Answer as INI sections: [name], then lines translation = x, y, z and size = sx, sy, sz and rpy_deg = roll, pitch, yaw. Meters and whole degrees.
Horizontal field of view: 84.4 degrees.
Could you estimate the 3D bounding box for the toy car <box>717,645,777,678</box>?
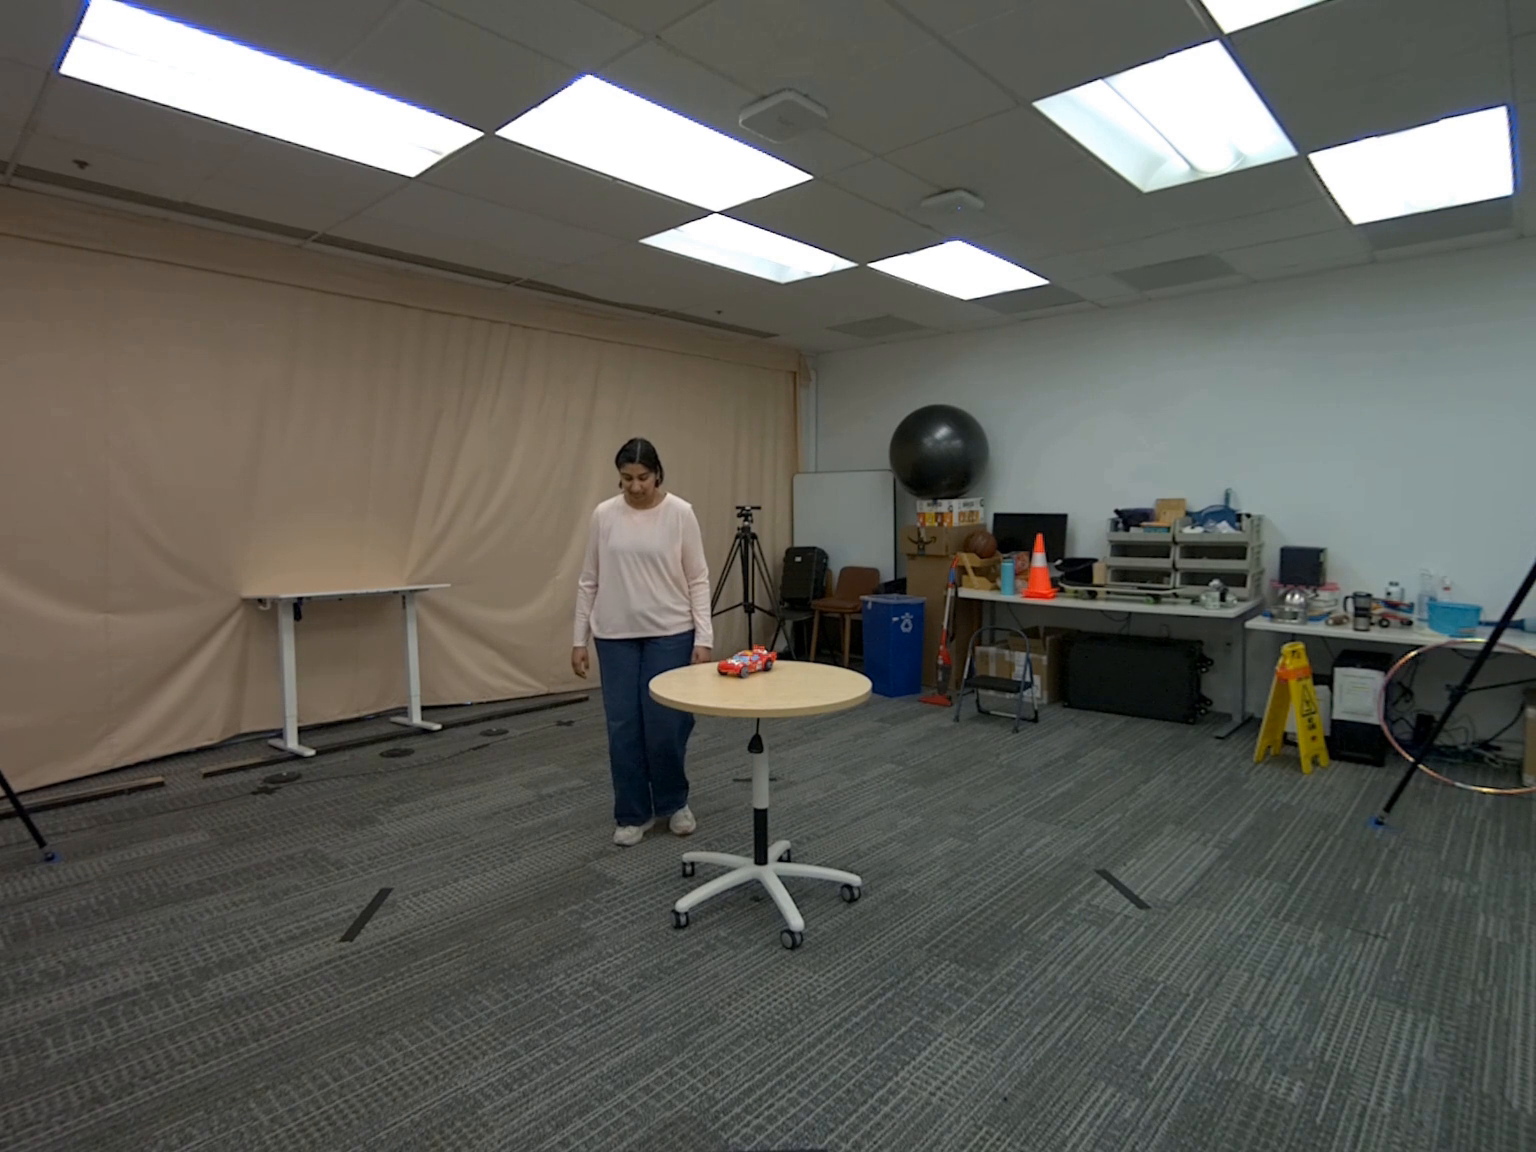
[toy car]
translation = -0.064, 0.320, 3.080
size = 0.134, 0.082, 0.249
rpy_deg = 3, 18, 38
